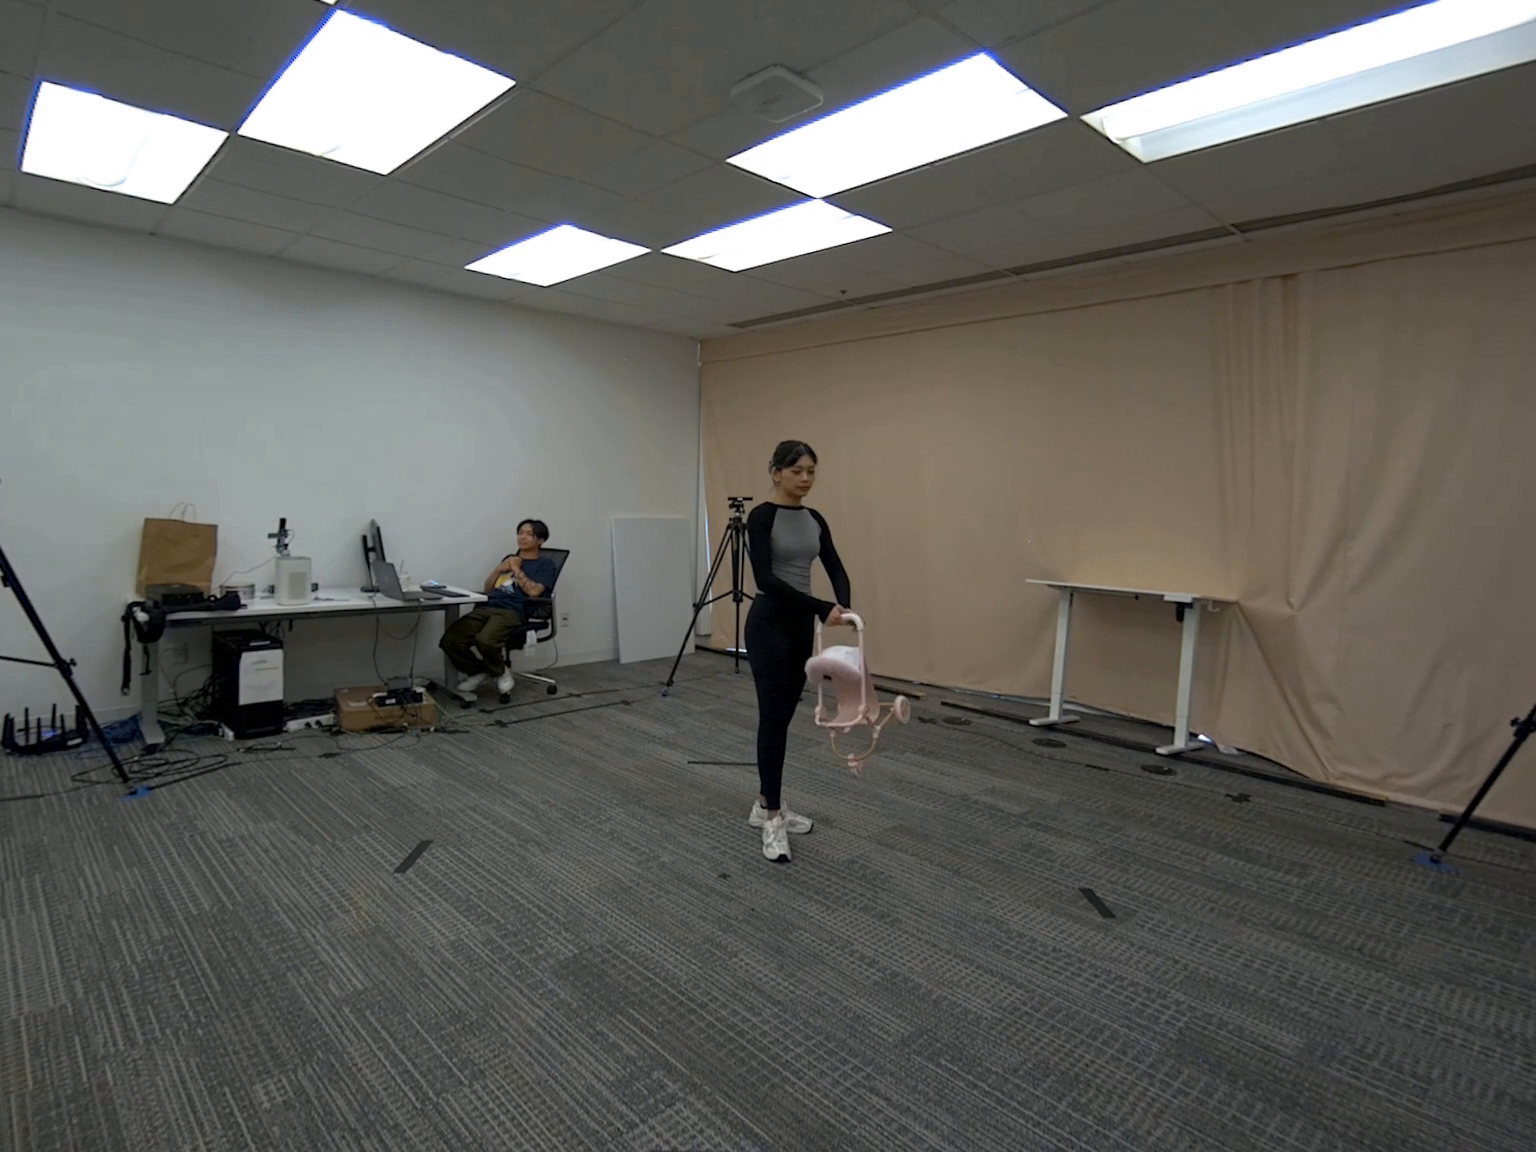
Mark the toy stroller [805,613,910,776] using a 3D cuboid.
[{"bbox_3d":[0.299,0.461,3.183,0.287,0.524,0.341,-5,30,41],"label":"toy stroller"}]
